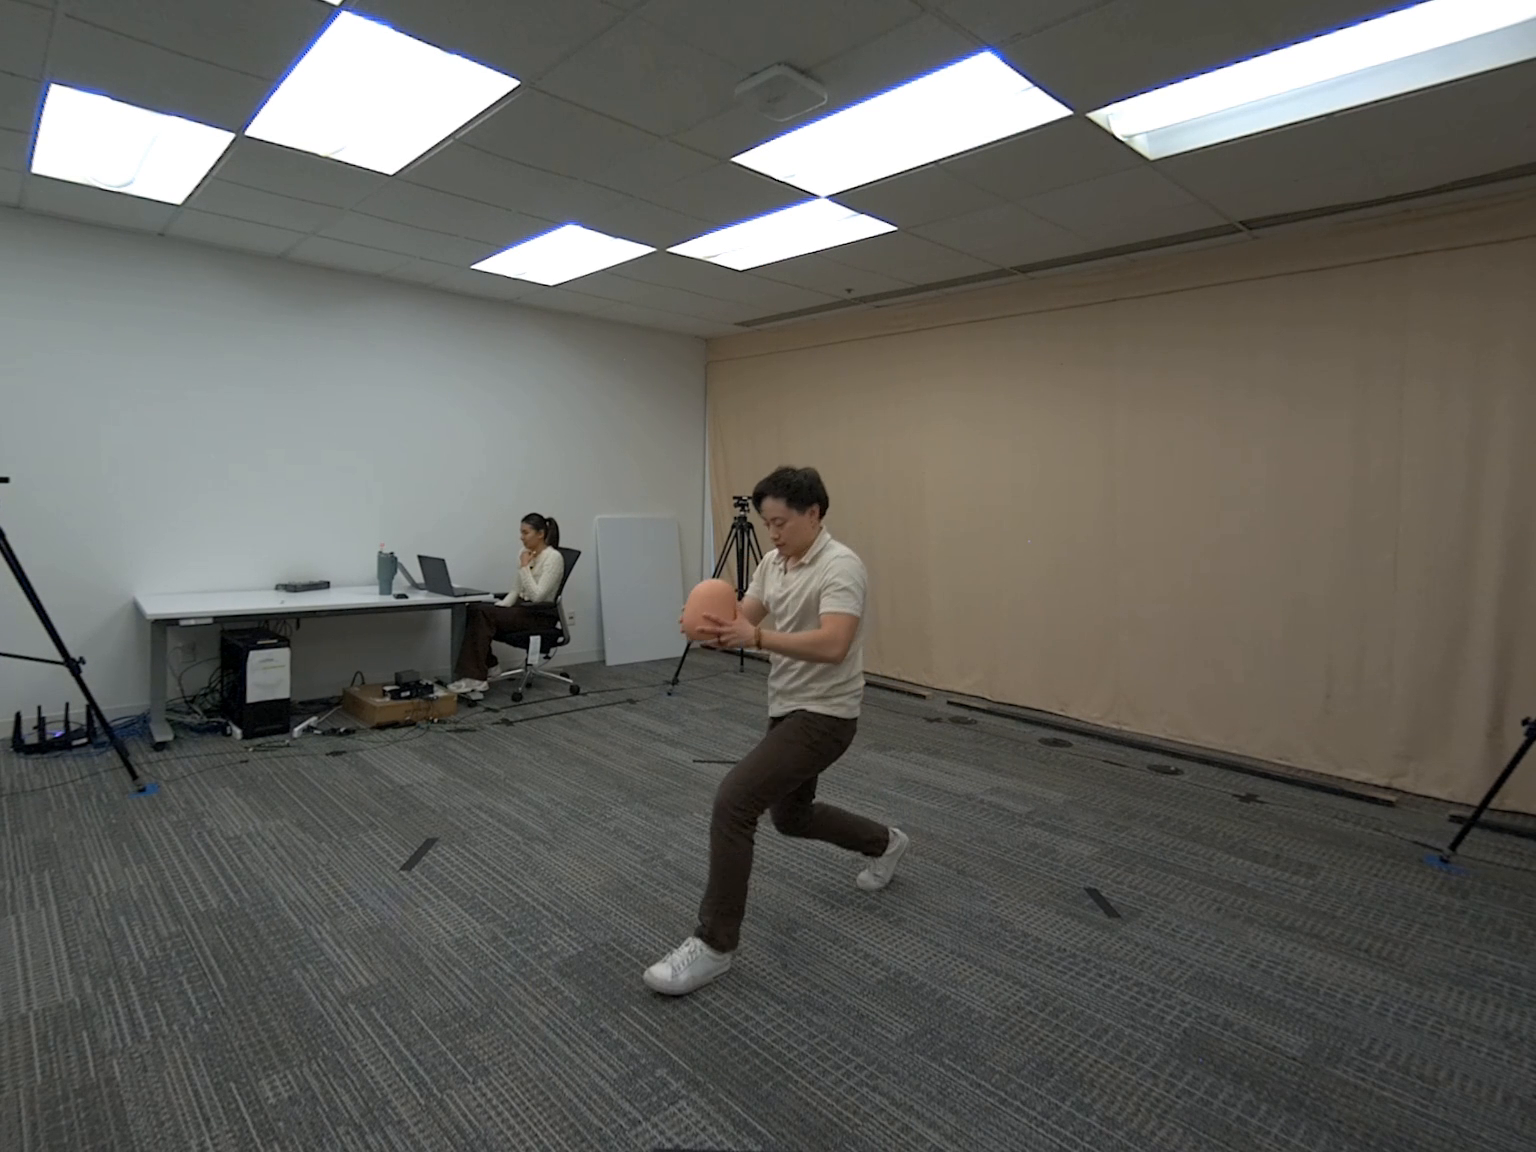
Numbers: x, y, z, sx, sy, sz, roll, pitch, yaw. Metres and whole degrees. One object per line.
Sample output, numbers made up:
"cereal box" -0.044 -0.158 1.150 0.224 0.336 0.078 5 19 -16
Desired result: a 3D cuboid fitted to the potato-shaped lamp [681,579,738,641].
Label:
"potato-shaped lamp" -0.173 0.129 2.544 0.167 0.198 0.169 10 2 -45
